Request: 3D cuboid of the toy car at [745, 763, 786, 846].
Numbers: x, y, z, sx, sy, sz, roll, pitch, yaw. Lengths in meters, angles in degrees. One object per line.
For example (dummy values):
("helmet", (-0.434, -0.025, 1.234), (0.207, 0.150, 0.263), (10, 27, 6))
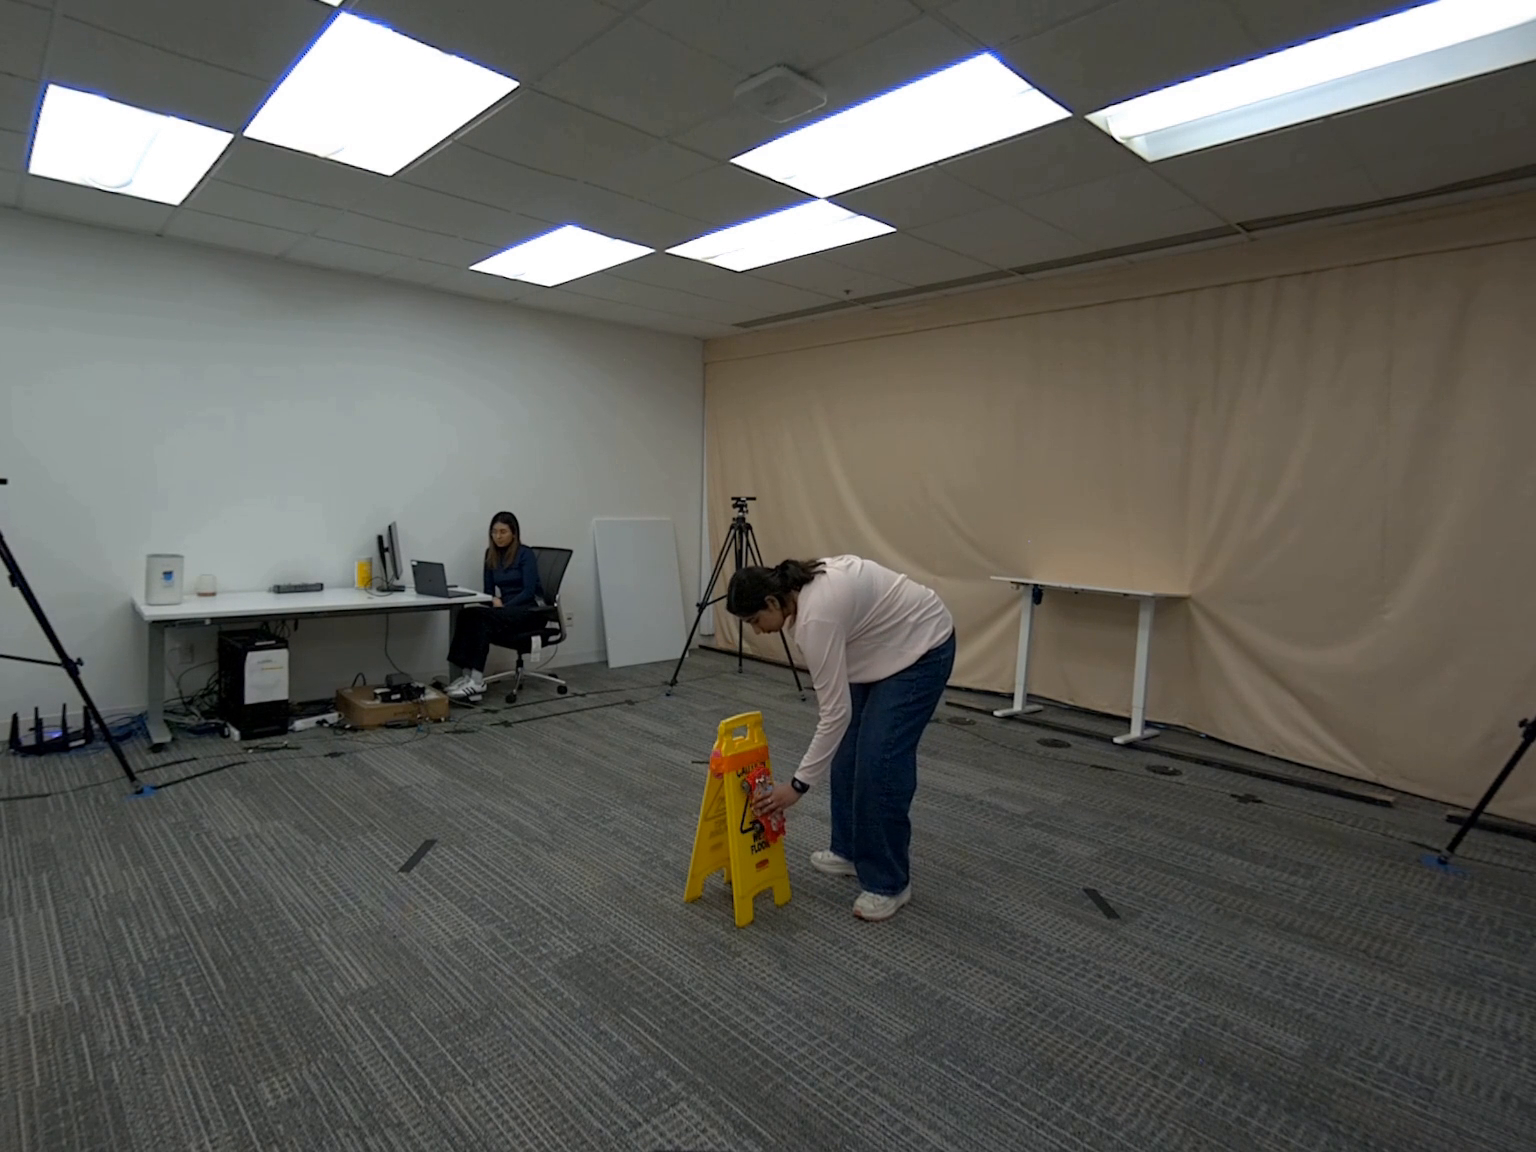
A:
("toy car", (-0.023, 0.763, 2.855), (0.128, 0.256, 0.084), (-19, -7, -47))
